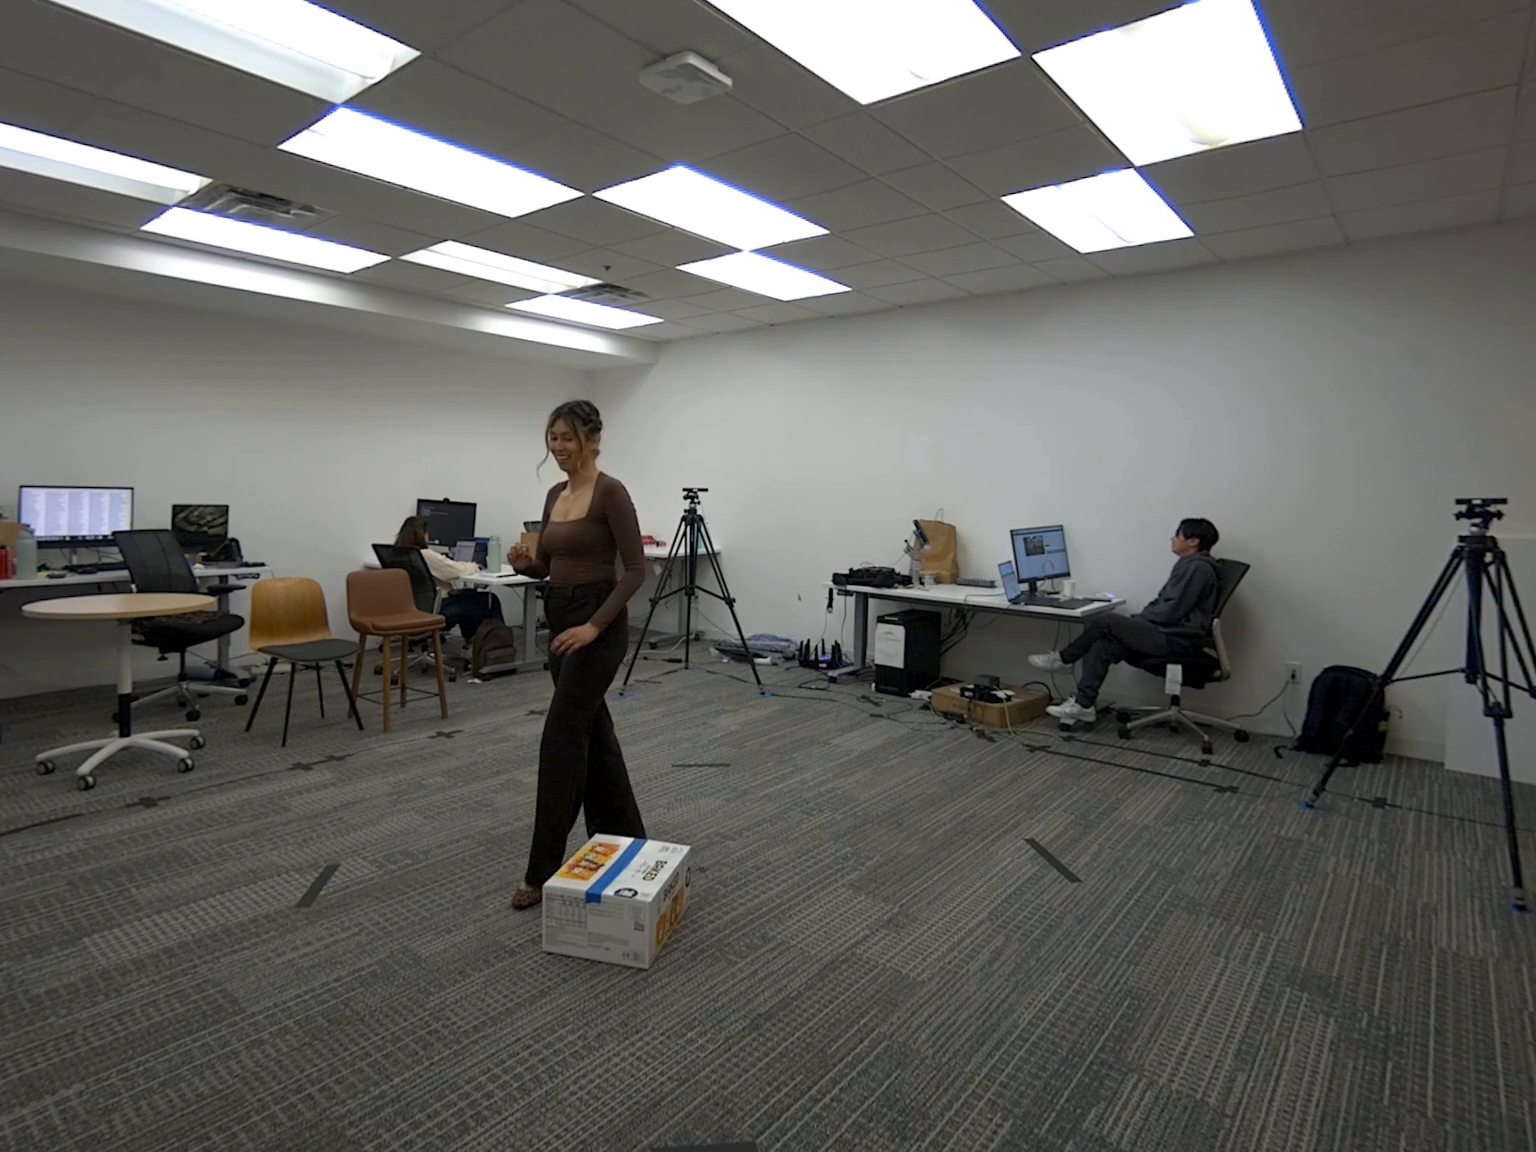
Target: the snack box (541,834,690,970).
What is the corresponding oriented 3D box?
[{"bbox_3d":[-0.473,1.005,2.670,0.346,0.205,0.400,2,5,14],"label":"snack box"}]
